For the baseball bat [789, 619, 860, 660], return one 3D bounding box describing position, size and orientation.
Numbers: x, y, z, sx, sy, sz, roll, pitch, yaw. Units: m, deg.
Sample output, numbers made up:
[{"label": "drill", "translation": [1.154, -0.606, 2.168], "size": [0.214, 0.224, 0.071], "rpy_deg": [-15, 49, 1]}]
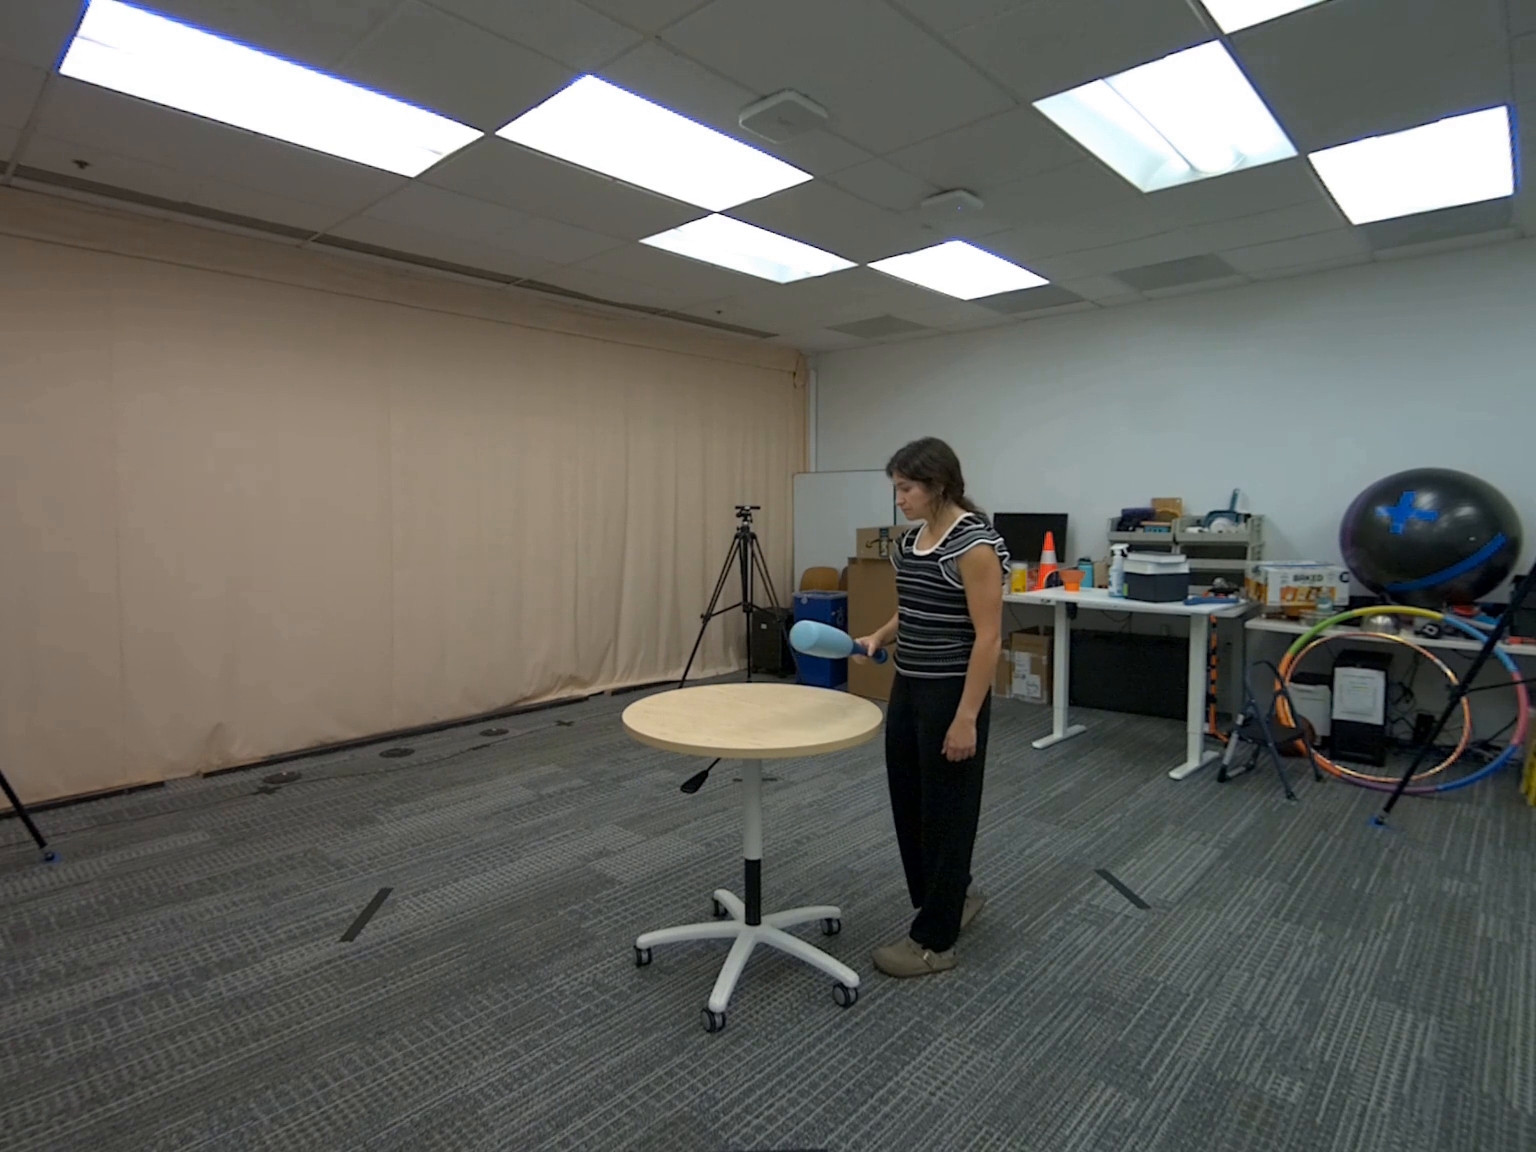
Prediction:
[{"label": "baseball bat", "translation": [0.235, 0.212, 2.440], "size": [0.092, 0.089, 0.525], "rpy_deg": [2, -9, 31]}]
